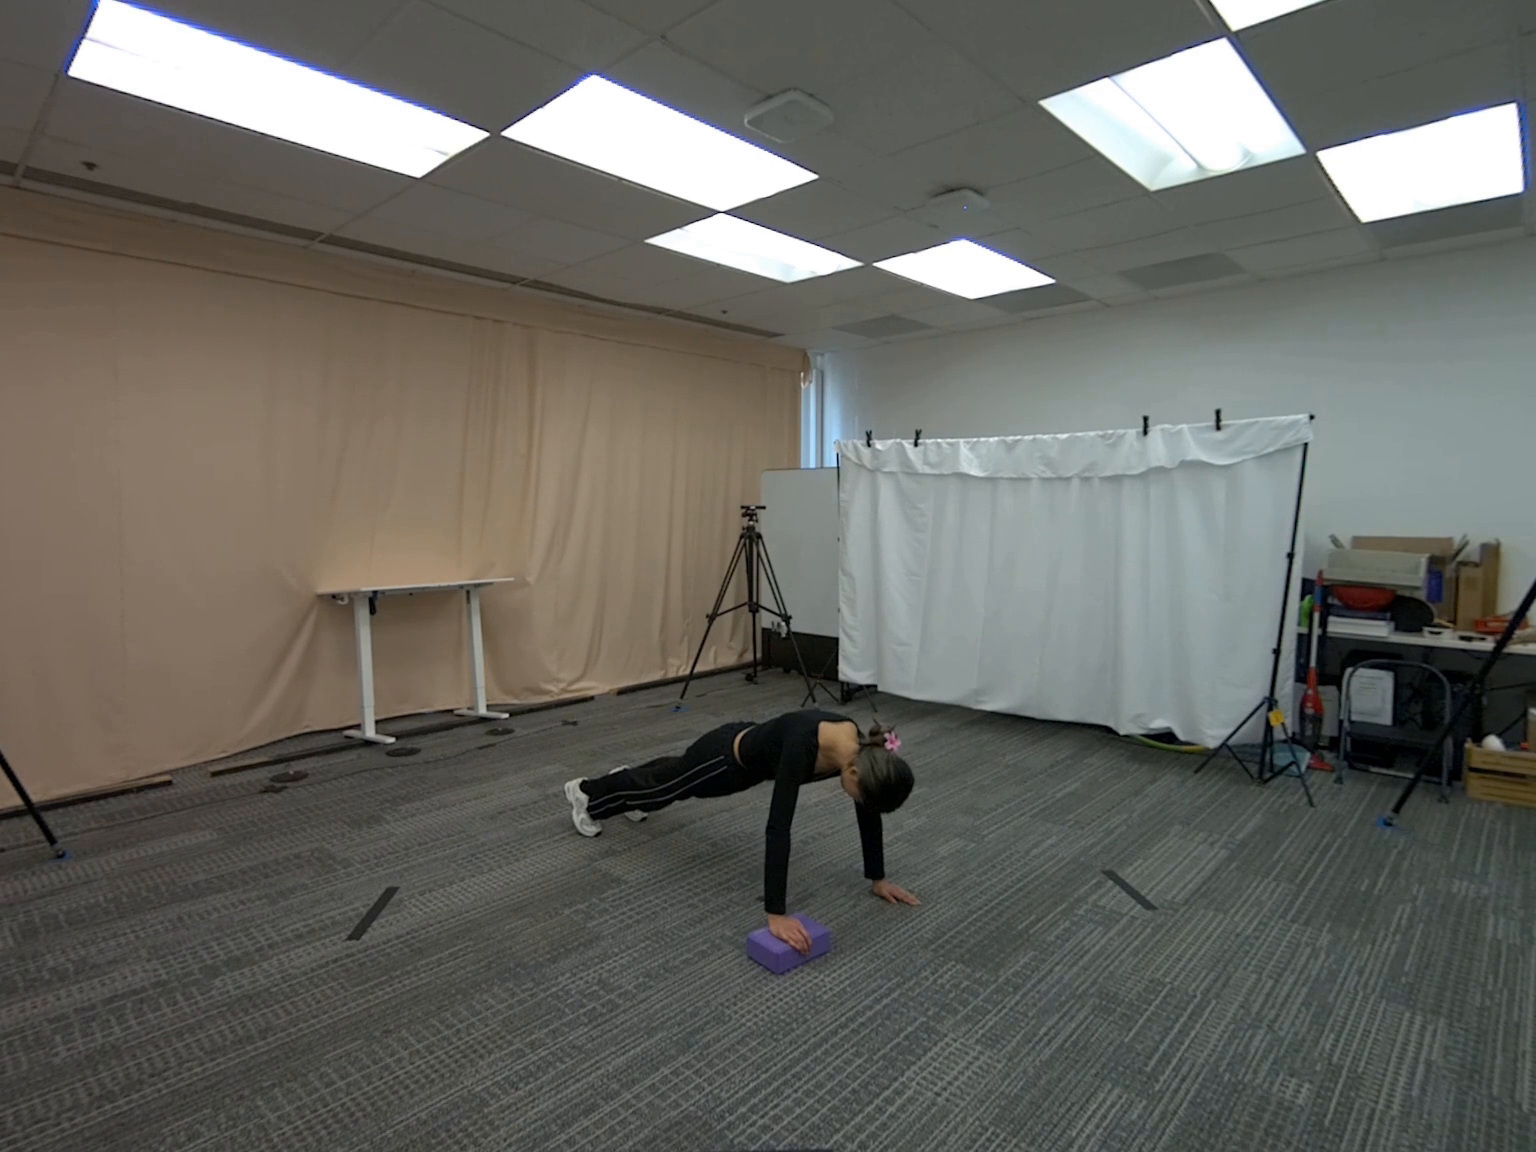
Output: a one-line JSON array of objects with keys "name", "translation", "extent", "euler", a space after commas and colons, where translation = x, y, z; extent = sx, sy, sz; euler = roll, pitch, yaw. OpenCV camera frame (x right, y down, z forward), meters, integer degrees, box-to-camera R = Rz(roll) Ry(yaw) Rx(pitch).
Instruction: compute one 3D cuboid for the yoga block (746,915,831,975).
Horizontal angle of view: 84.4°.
[{"name": "yoga block", "translation": [0.068, 1.139, 2.615], "extent": [0.223, 0.076, 0.154], "euler": [-7, 8, -39]}]
